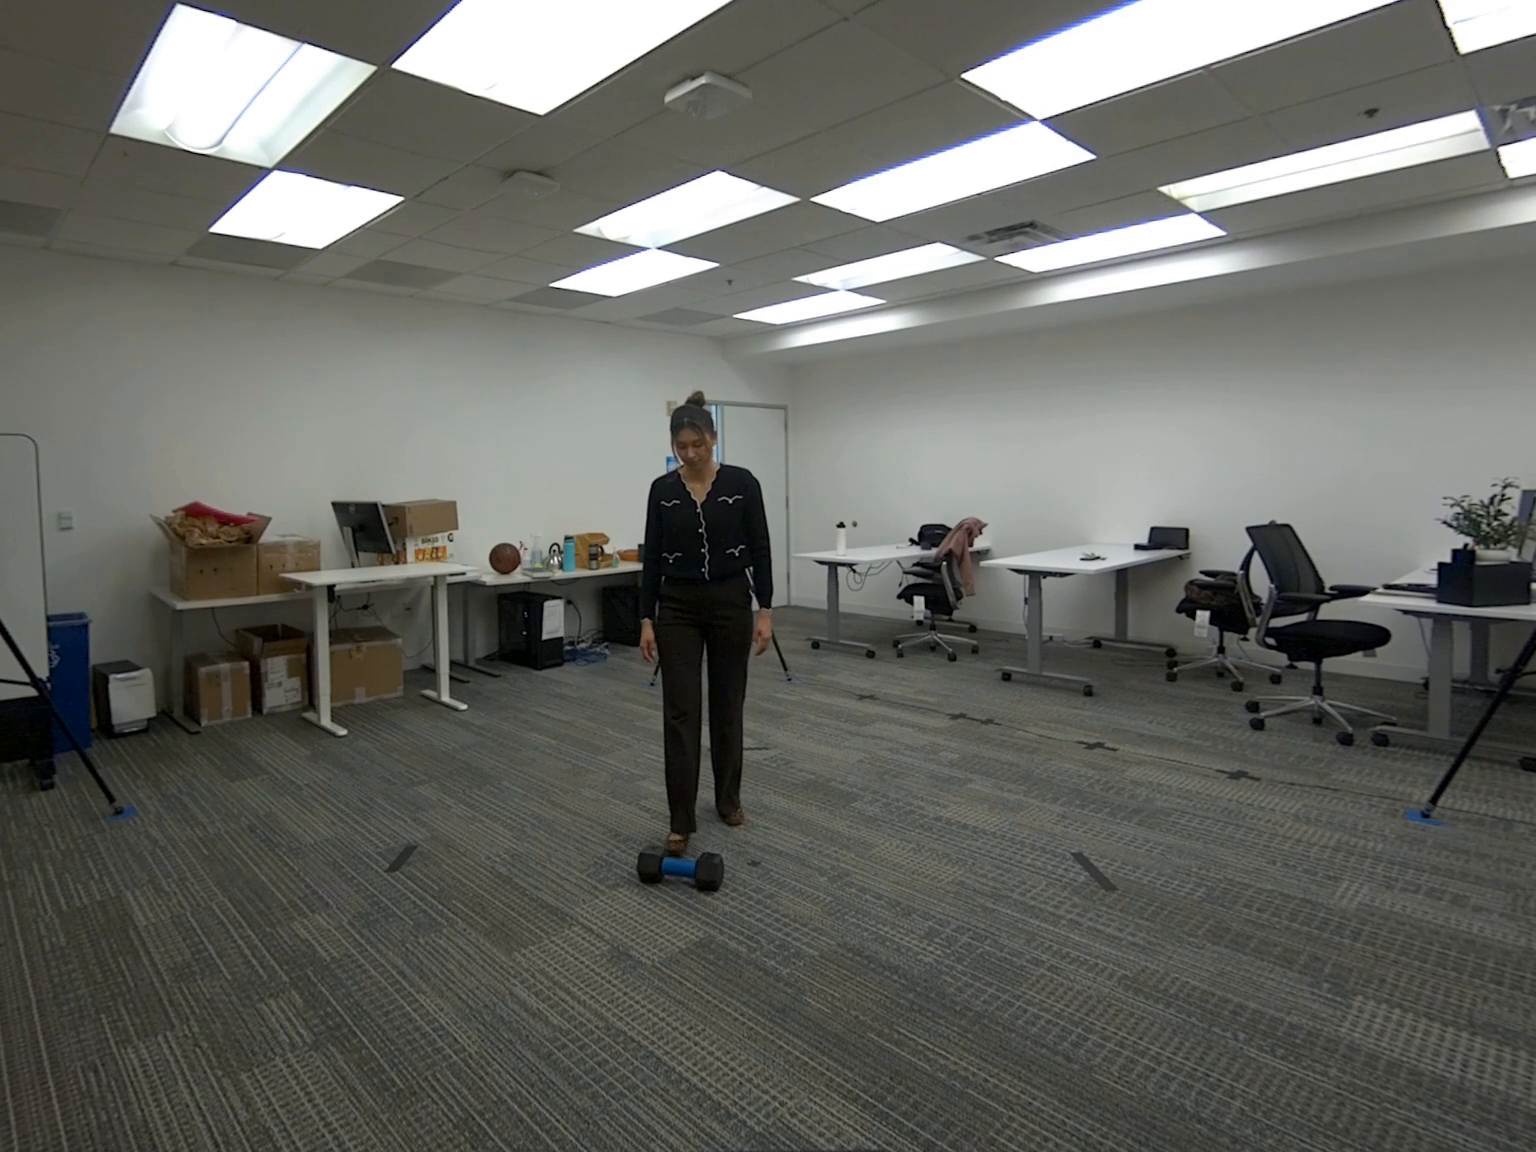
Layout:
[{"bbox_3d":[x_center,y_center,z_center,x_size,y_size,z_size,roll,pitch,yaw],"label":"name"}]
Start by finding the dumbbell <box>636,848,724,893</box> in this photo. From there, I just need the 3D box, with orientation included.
[{"bbox_3d":[-0.306,1.015,2.959,0.298,0.125,0.105,1,-24,16],"label":"dumbbell"}]
